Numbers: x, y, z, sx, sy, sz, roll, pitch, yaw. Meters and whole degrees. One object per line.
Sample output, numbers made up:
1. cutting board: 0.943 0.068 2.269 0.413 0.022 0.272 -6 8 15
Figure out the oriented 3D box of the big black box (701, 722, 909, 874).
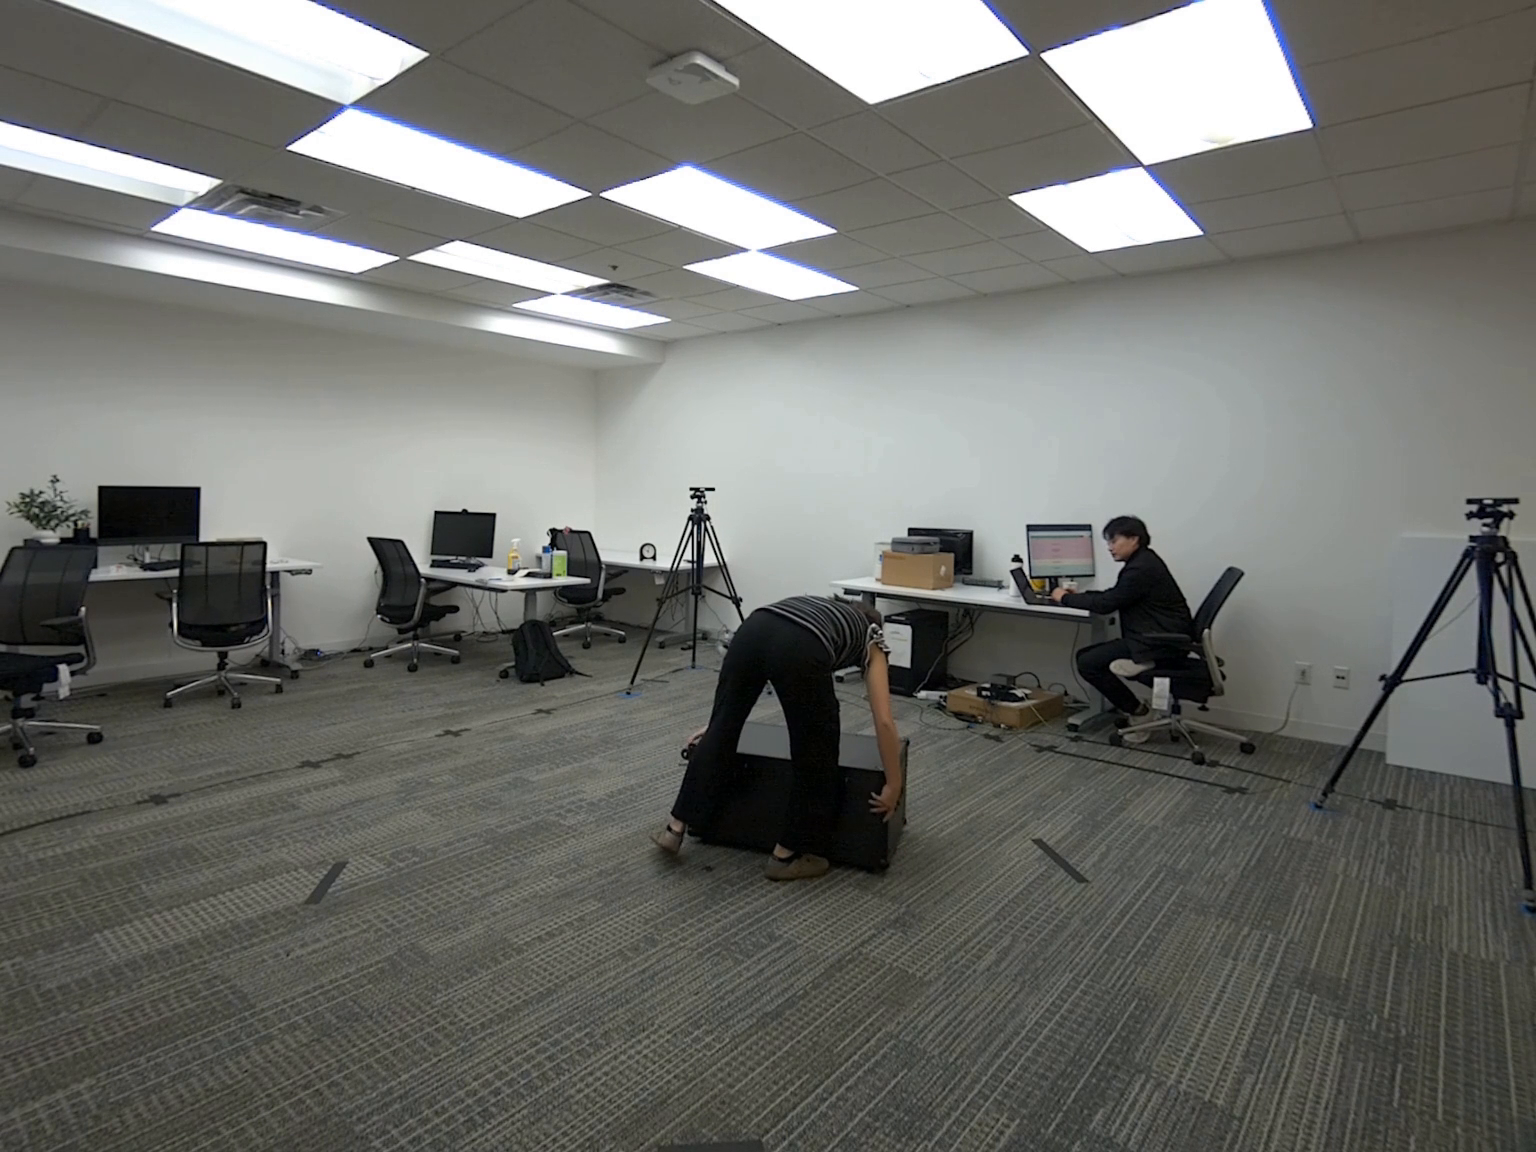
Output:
1. big black box: 0.092 0.845 3.430 0.880 0.395 0.512 4 5 19
